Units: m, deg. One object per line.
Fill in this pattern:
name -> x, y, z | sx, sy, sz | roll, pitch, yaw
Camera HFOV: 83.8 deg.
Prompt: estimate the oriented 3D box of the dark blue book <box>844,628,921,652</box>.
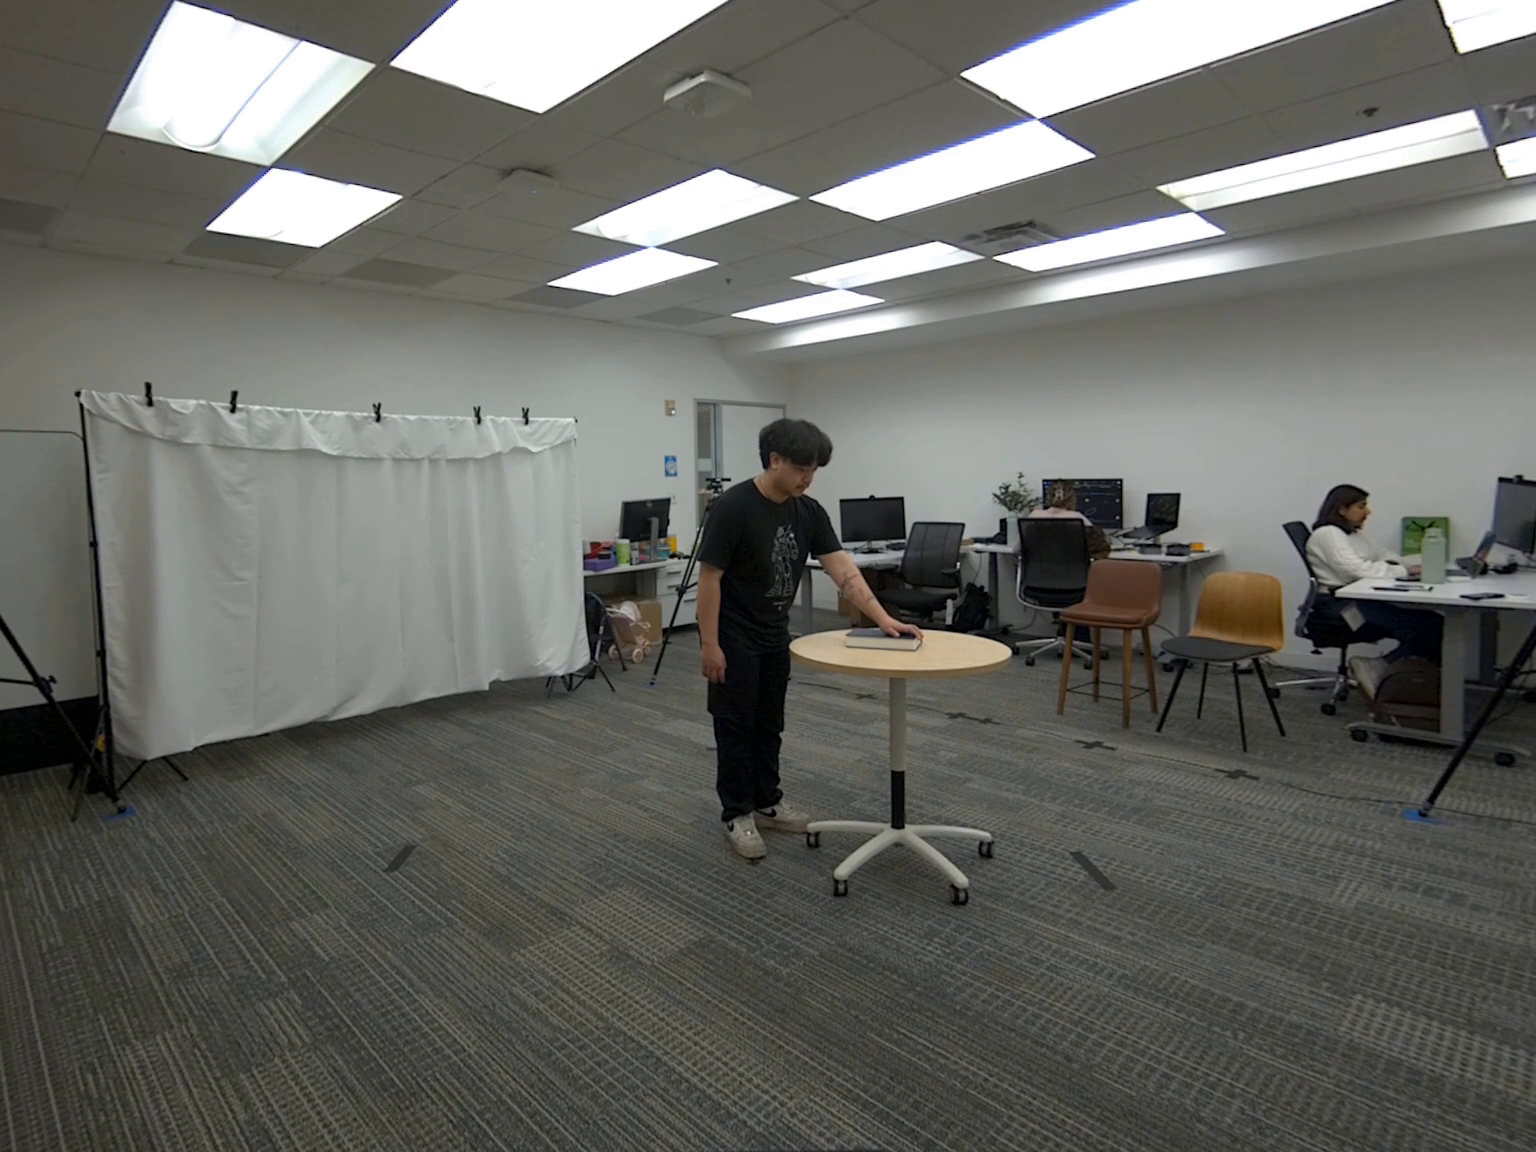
dark blue book -> 0.425, 0.228, 3.051 | 0.250, 0.045, 0.161 | 2, 5, 20
